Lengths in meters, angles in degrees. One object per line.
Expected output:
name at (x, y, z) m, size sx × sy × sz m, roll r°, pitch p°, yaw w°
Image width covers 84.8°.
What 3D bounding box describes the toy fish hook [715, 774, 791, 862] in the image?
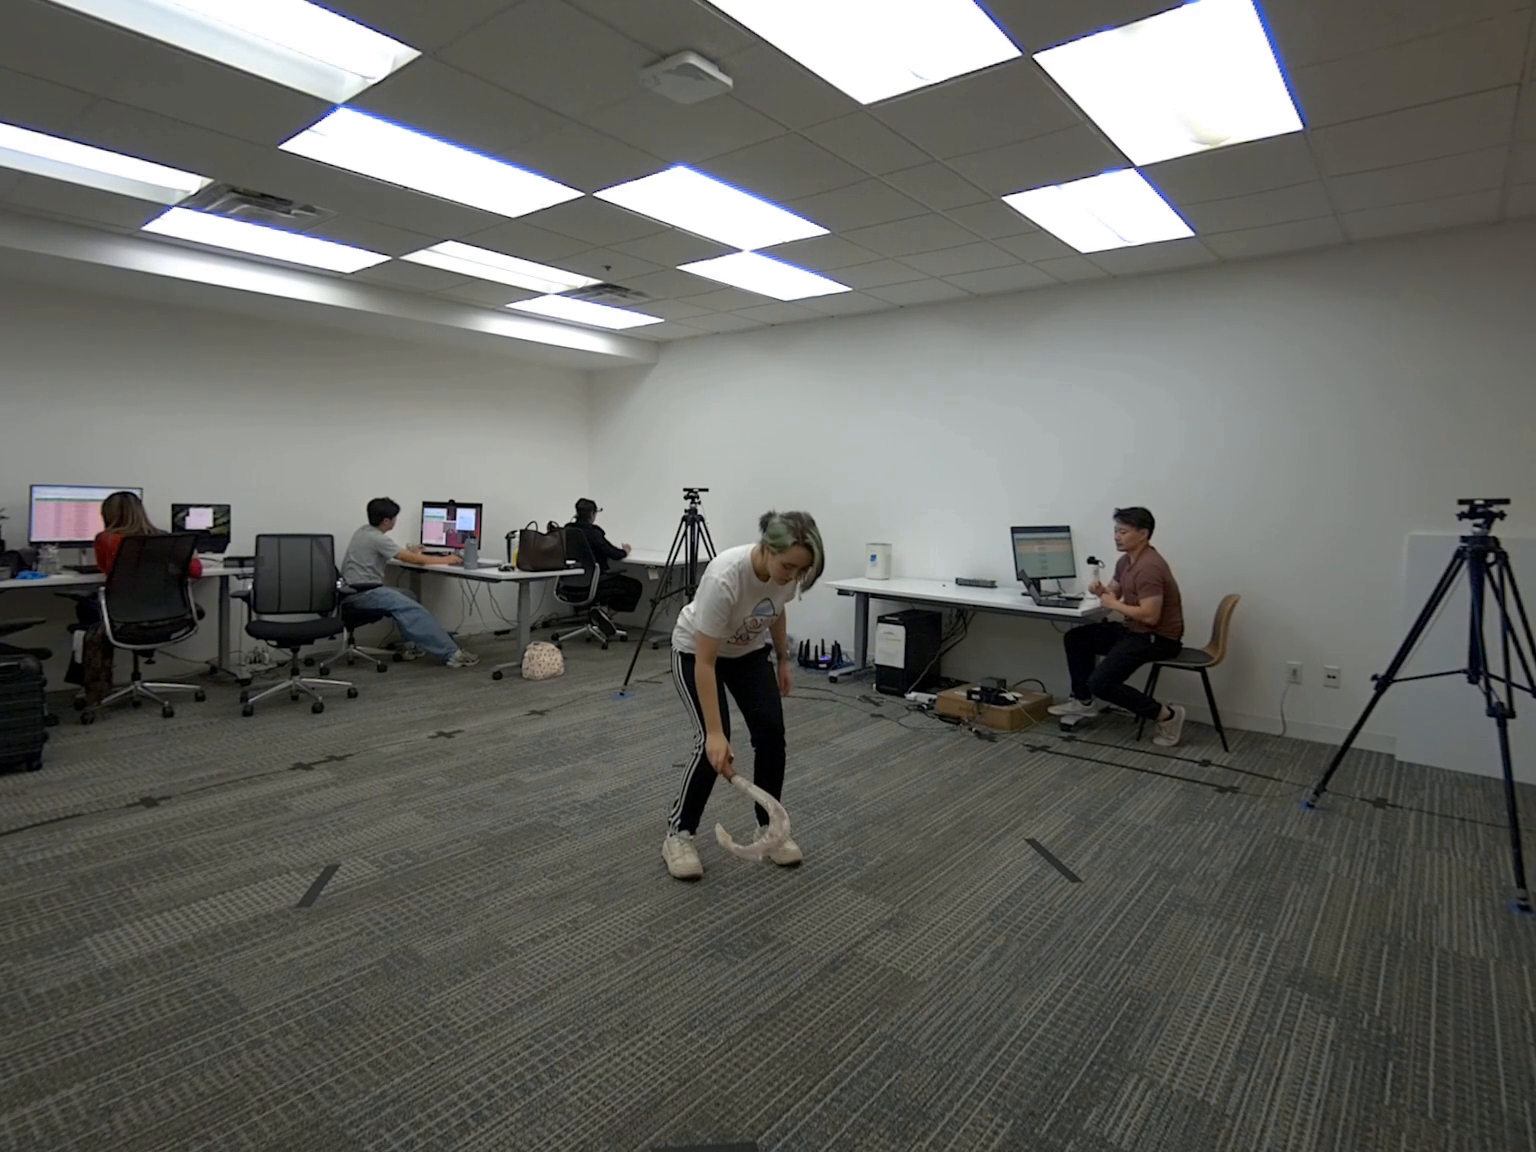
toy fish hook at (-0.127, 0.712, 2.756) m, size 0.223 × 0.047 × 0.528 m, roll -29°, pitch 38°, yaw -17°
